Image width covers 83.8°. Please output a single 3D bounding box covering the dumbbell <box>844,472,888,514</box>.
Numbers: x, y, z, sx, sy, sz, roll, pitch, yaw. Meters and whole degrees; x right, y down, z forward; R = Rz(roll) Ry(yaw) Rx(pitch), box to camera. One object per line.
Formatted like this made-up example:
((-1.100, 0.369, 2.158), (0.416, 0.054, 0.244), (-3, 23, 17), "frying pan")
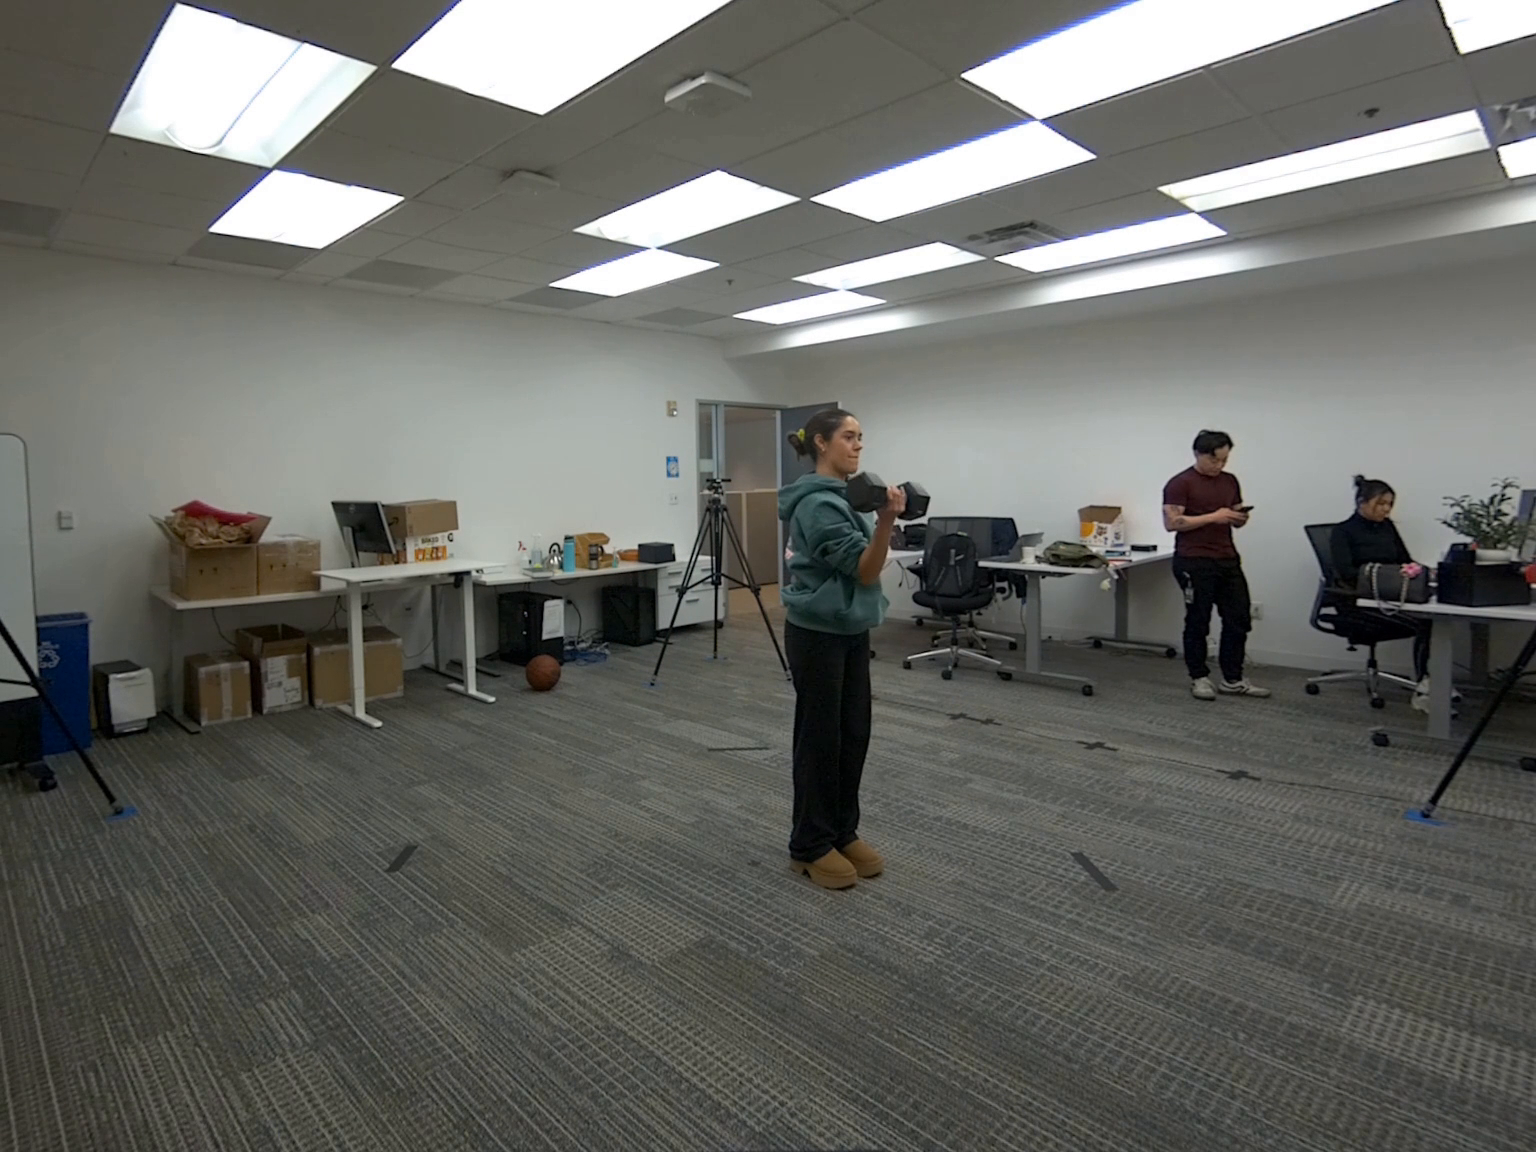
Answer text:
((0.371, -0.233, 2.622), (0.284, 0.110, 0.125), (7, -20, -41), "dumbbell")
